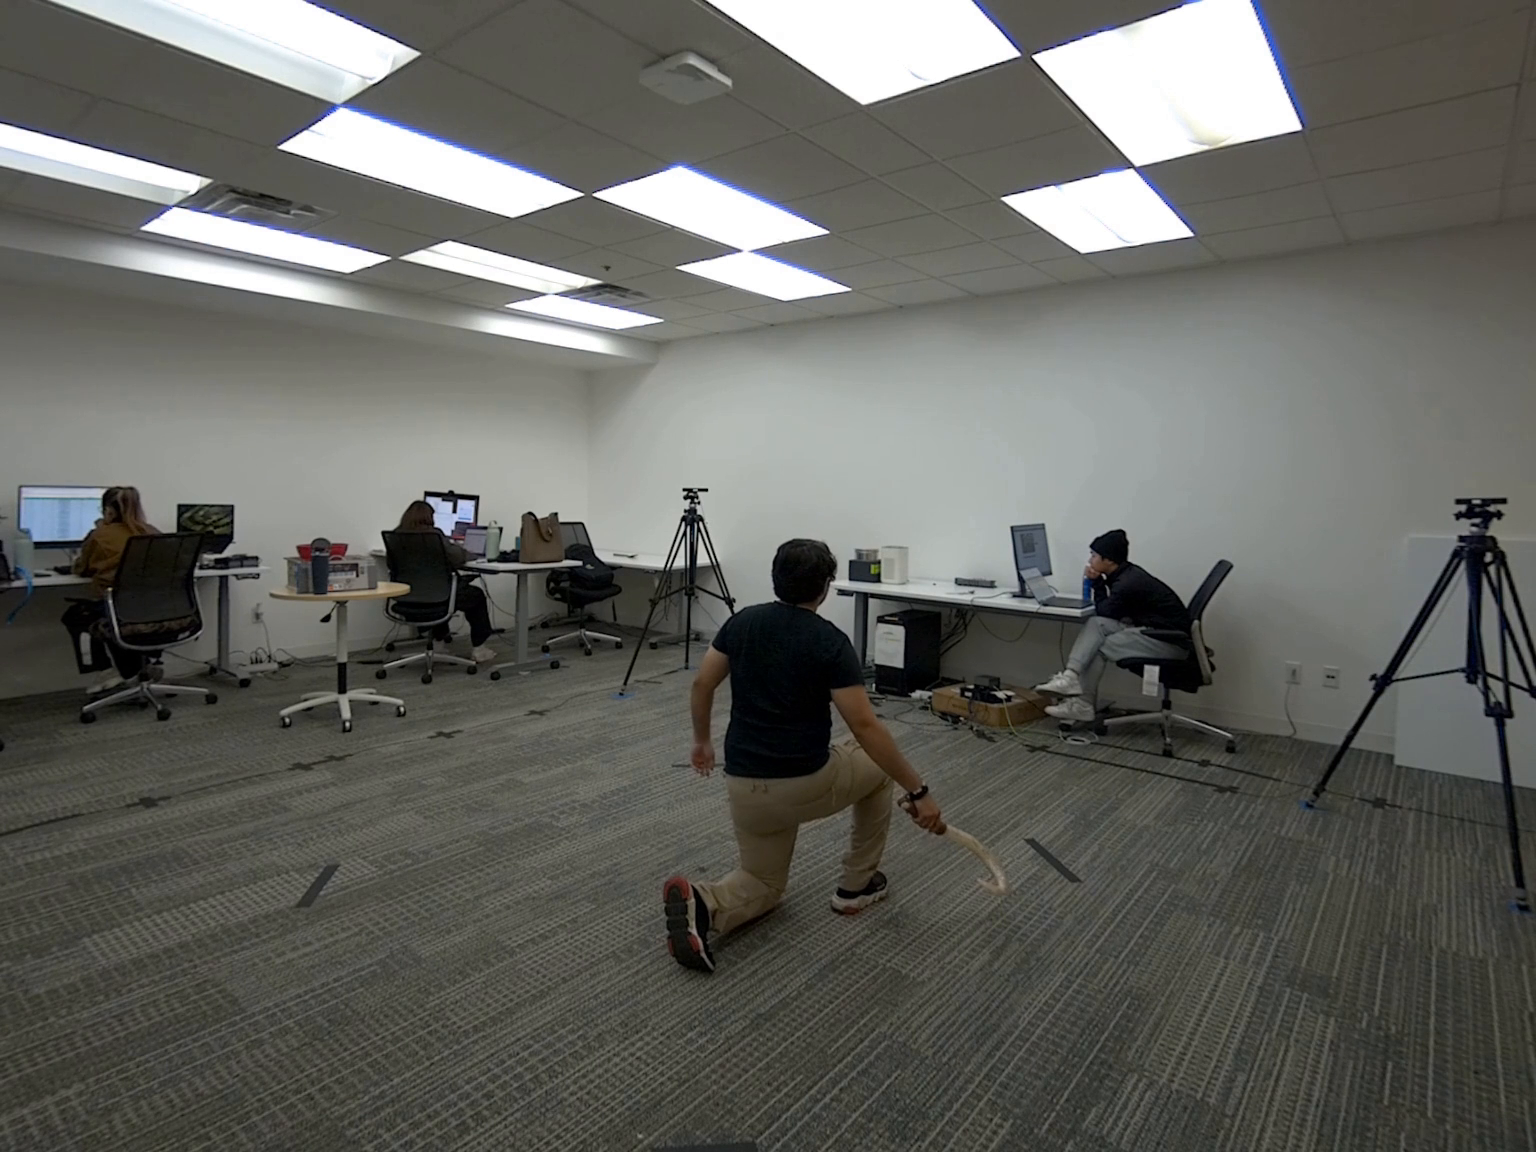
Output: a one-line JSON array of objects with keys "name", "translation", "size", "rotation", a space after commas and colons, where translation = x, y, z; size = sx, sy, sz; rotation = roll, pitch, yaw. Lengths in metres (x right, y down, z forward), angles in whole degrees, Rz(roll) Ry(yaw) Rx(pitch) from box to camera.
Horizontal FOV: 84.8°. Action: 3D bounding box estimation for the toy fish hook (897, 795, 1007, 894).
[{"name": "toy fish hook", "translation": [0.586, 0.845, 2.659], "size": [0.492, 0.048, 0.231], "rotation": [36, 16, -21]}]
